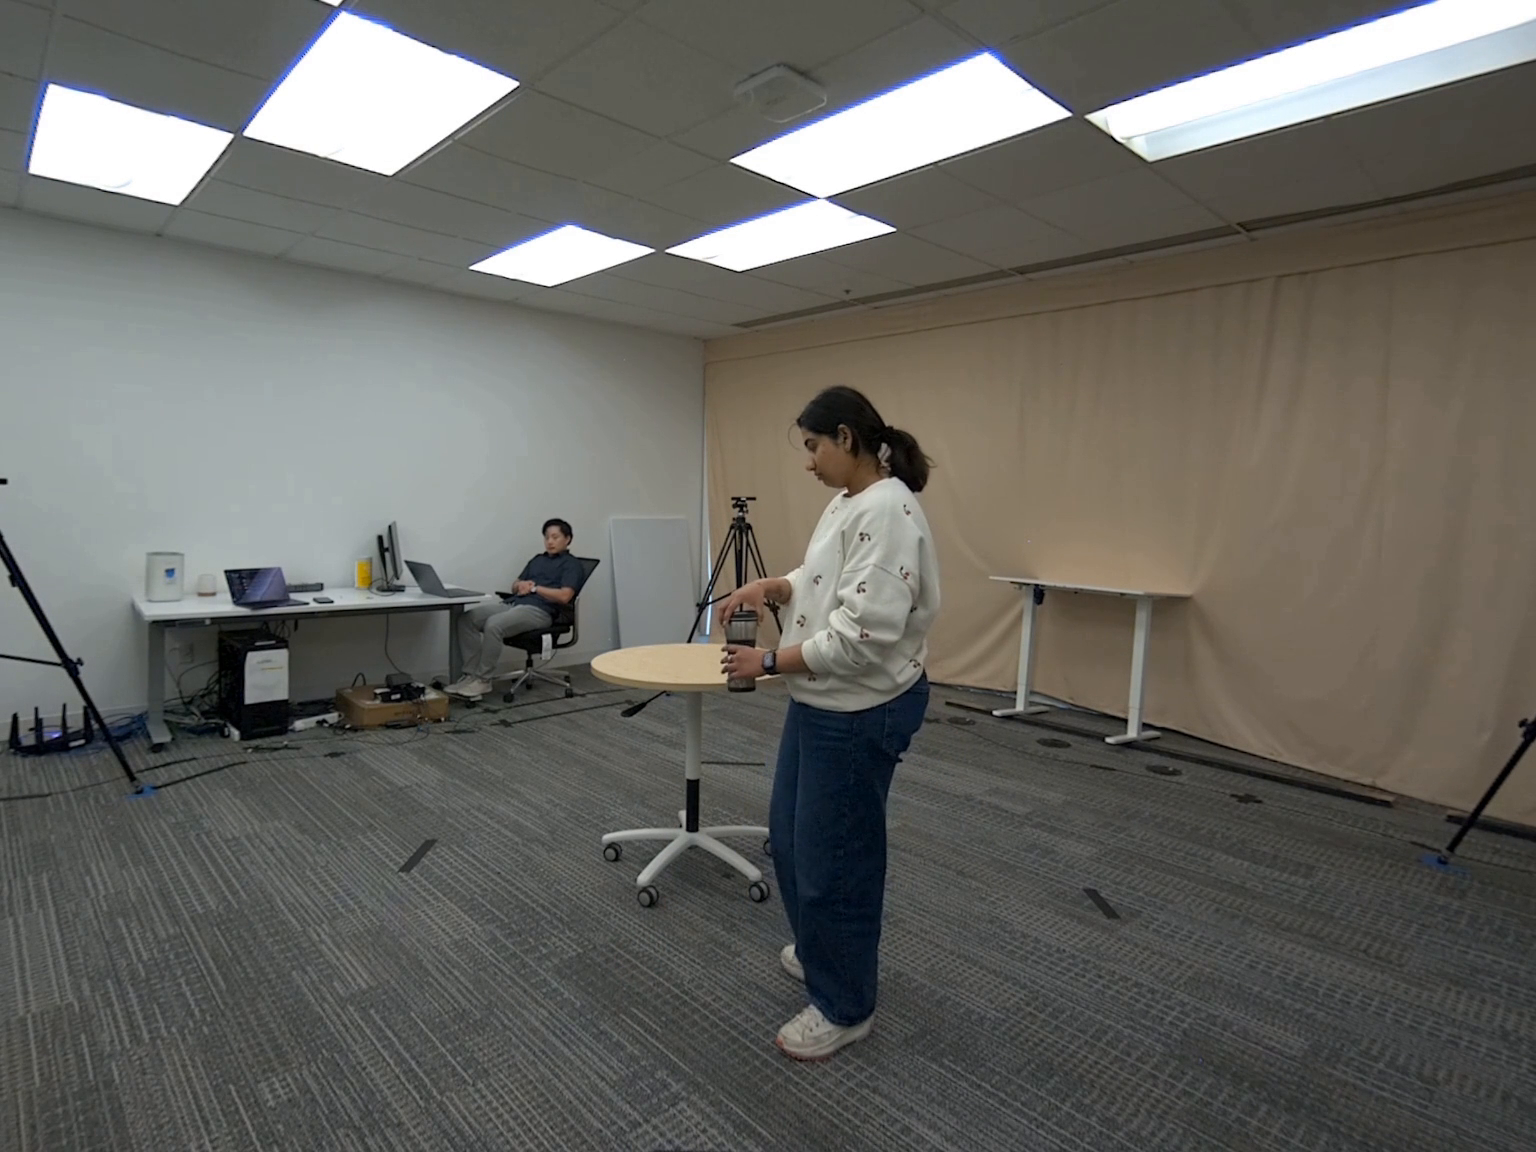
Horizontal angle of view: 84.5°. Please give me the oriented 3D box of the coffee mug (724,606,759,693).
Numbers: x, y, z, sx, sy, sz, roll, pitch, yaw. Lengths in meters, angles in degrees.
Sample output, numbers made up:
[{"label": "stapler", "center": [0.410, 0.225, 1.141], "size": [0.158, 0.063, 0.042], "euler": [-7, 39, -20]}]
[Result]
[{"label": "coffee mug", "center": [-0.049, 0.197, 2.179], "size": [0.090, 0.203, 0.119], "euler": [-4, 2, 41]}]
